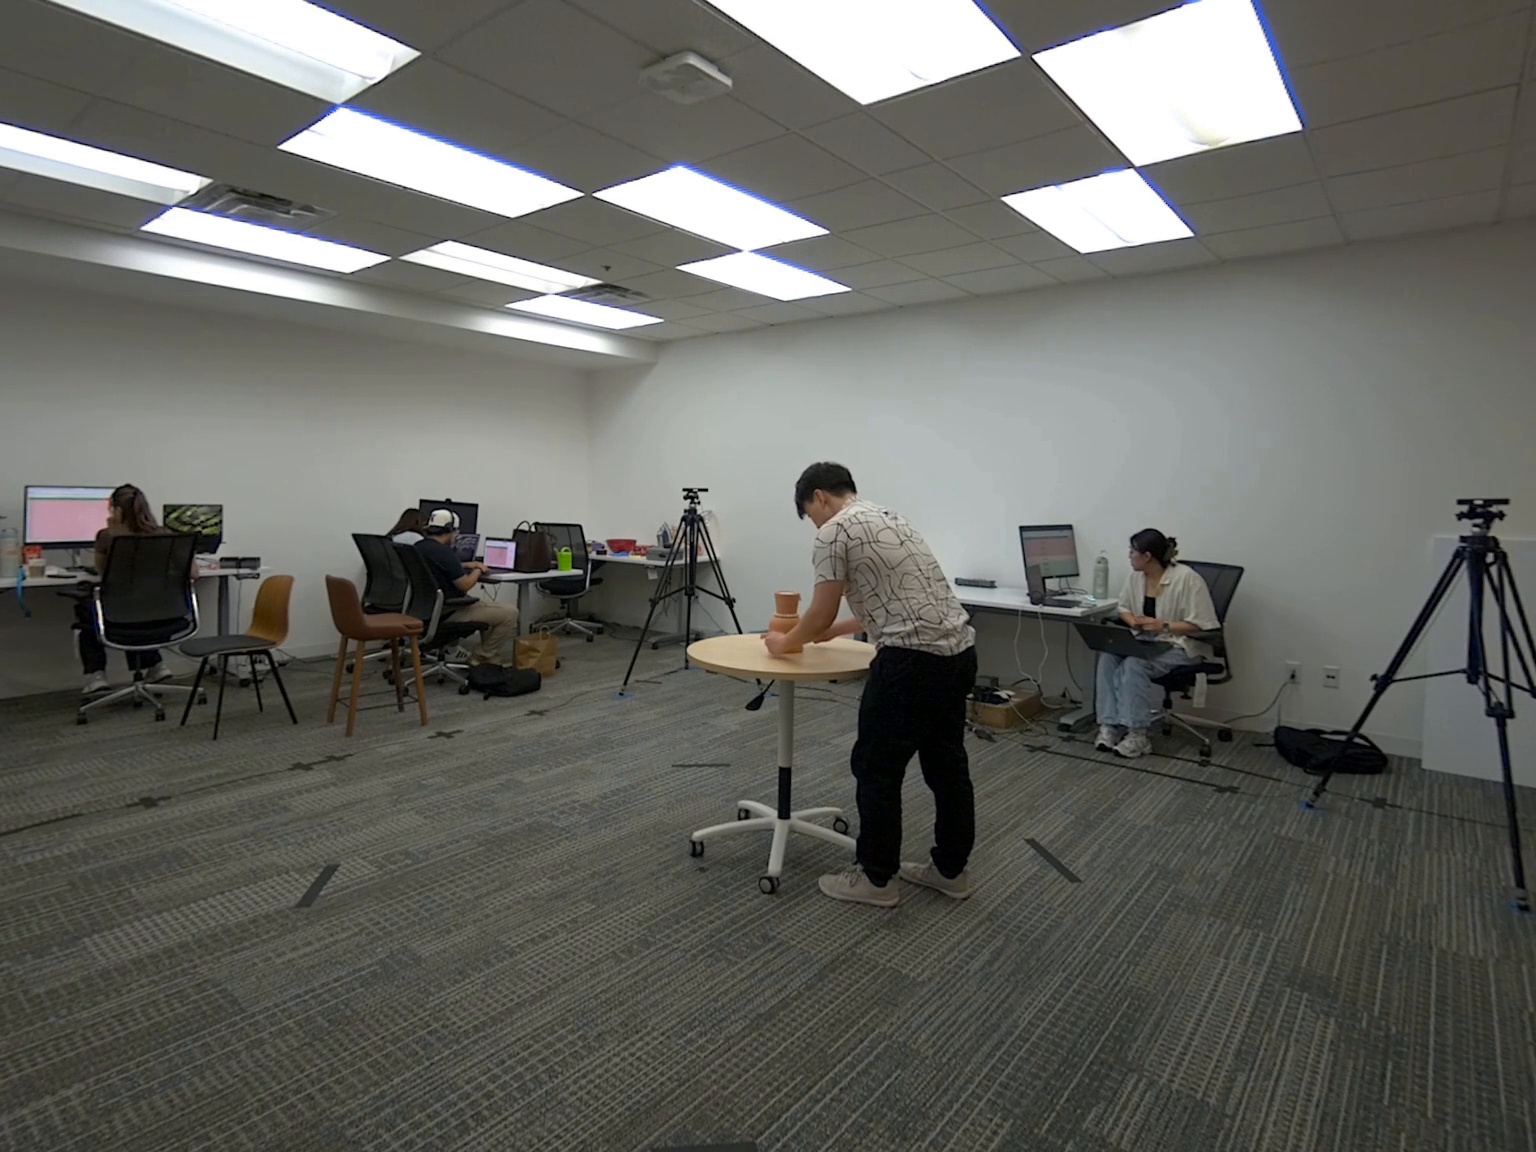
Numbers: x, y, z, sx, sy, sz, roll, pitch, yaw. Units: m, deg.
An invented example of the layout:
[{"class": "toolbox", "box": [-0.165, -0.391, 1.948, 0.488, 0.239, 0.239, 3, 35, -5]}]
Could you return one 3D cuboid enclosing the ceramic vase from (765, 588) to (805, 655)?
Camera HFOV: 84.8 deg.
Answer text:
[{"class": "ceramic vase", "box": [0.064, 0.170, 3.231, 0.135, 0.219, 0.159, 2, 5, 3]}]
